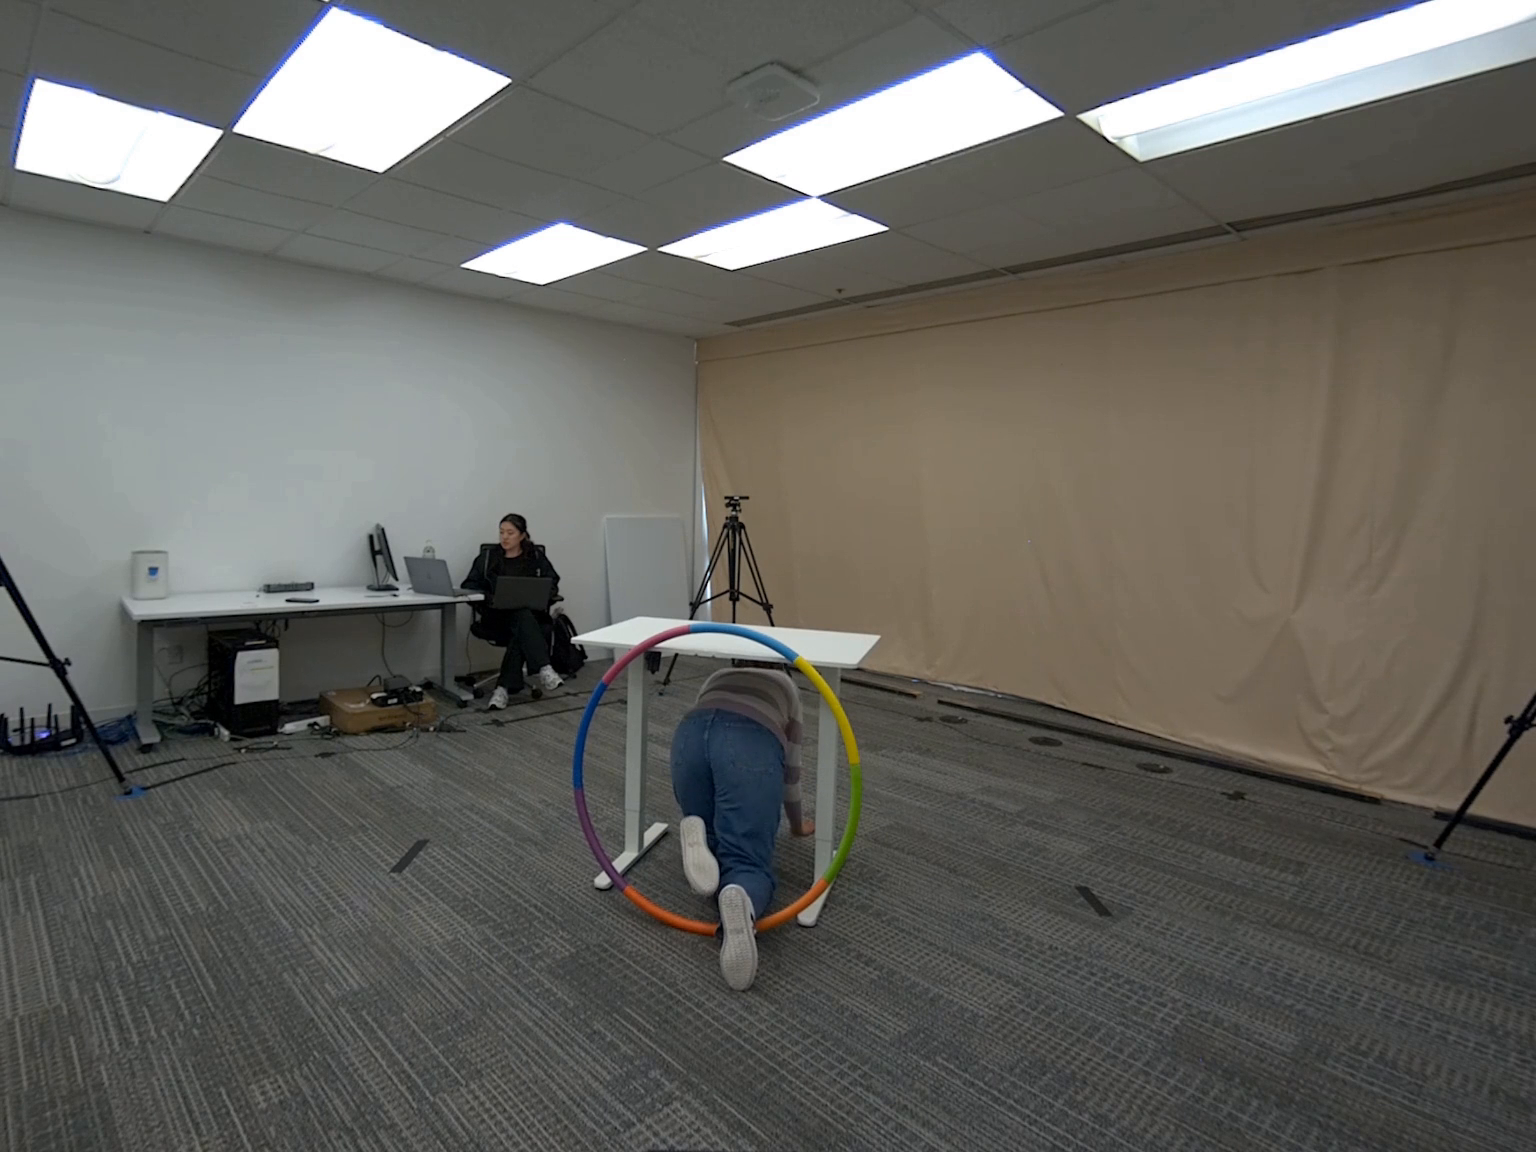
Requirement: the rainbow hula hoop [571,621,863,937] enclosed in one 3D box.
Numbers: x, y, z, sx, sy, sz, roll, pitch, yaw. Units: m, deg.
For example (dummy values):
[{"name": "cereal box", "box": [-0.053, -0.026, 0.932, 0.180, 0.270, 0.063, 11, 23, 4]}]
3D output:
[{"name": "rainbow hula hoop", "box": [-0.201, 0.658, 2.719, 0.993, 0.981, 0.035, 3, -4, 18]}]
